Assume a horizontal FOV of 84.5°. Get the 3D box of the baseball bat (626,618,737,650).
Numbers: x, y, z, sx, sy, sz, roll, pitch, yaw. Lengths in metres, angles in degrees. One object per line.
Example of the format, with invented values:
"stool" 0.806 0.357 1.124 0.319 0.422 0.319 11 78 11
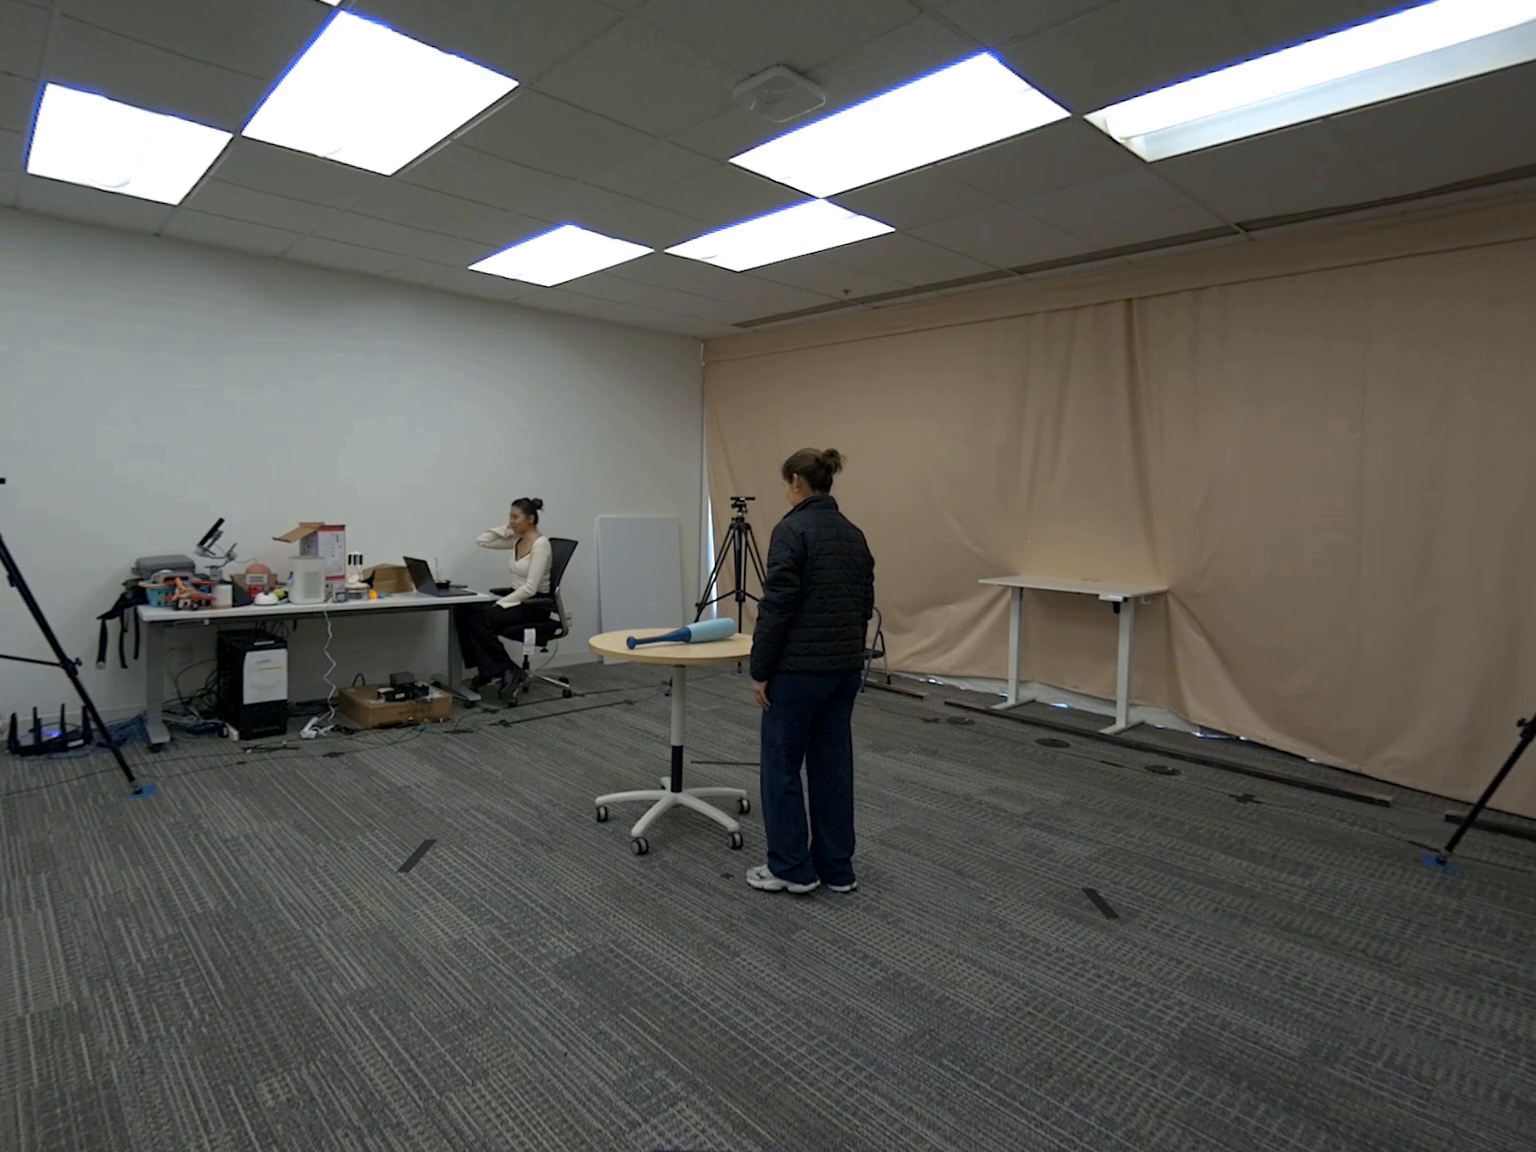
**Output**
"baseball bat" -0.361 0.250 3.488 0.531 0.088 0.091 -7 9 -41
